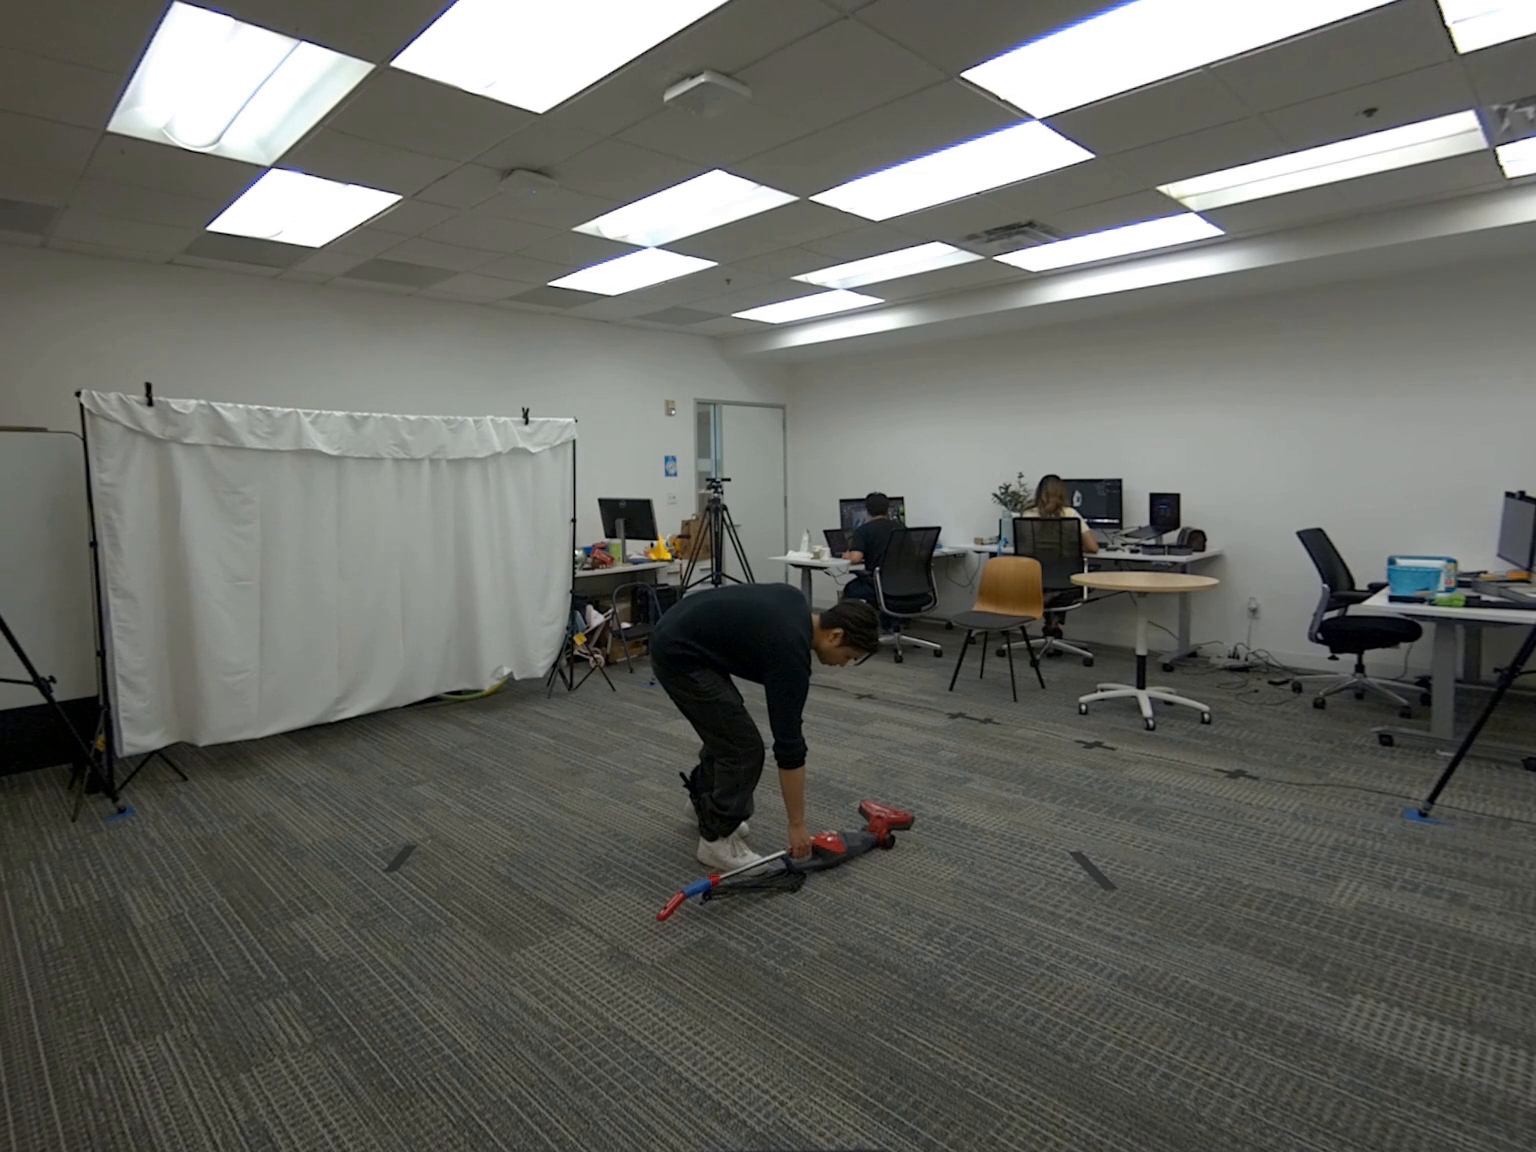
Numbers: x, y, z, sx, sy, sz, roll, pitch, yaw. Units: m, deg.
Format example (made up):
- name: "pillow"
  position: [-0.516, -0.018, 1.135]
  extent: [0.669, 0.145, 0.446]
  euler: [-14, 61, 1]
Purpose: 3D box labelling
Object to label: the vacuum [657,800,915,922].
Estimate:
- name: "vacuum"
  position: [0.061, 0.996, 2.926]
  extent: [1.022, 0.143, 0.260]
  euler: [-7, 6, -40]
